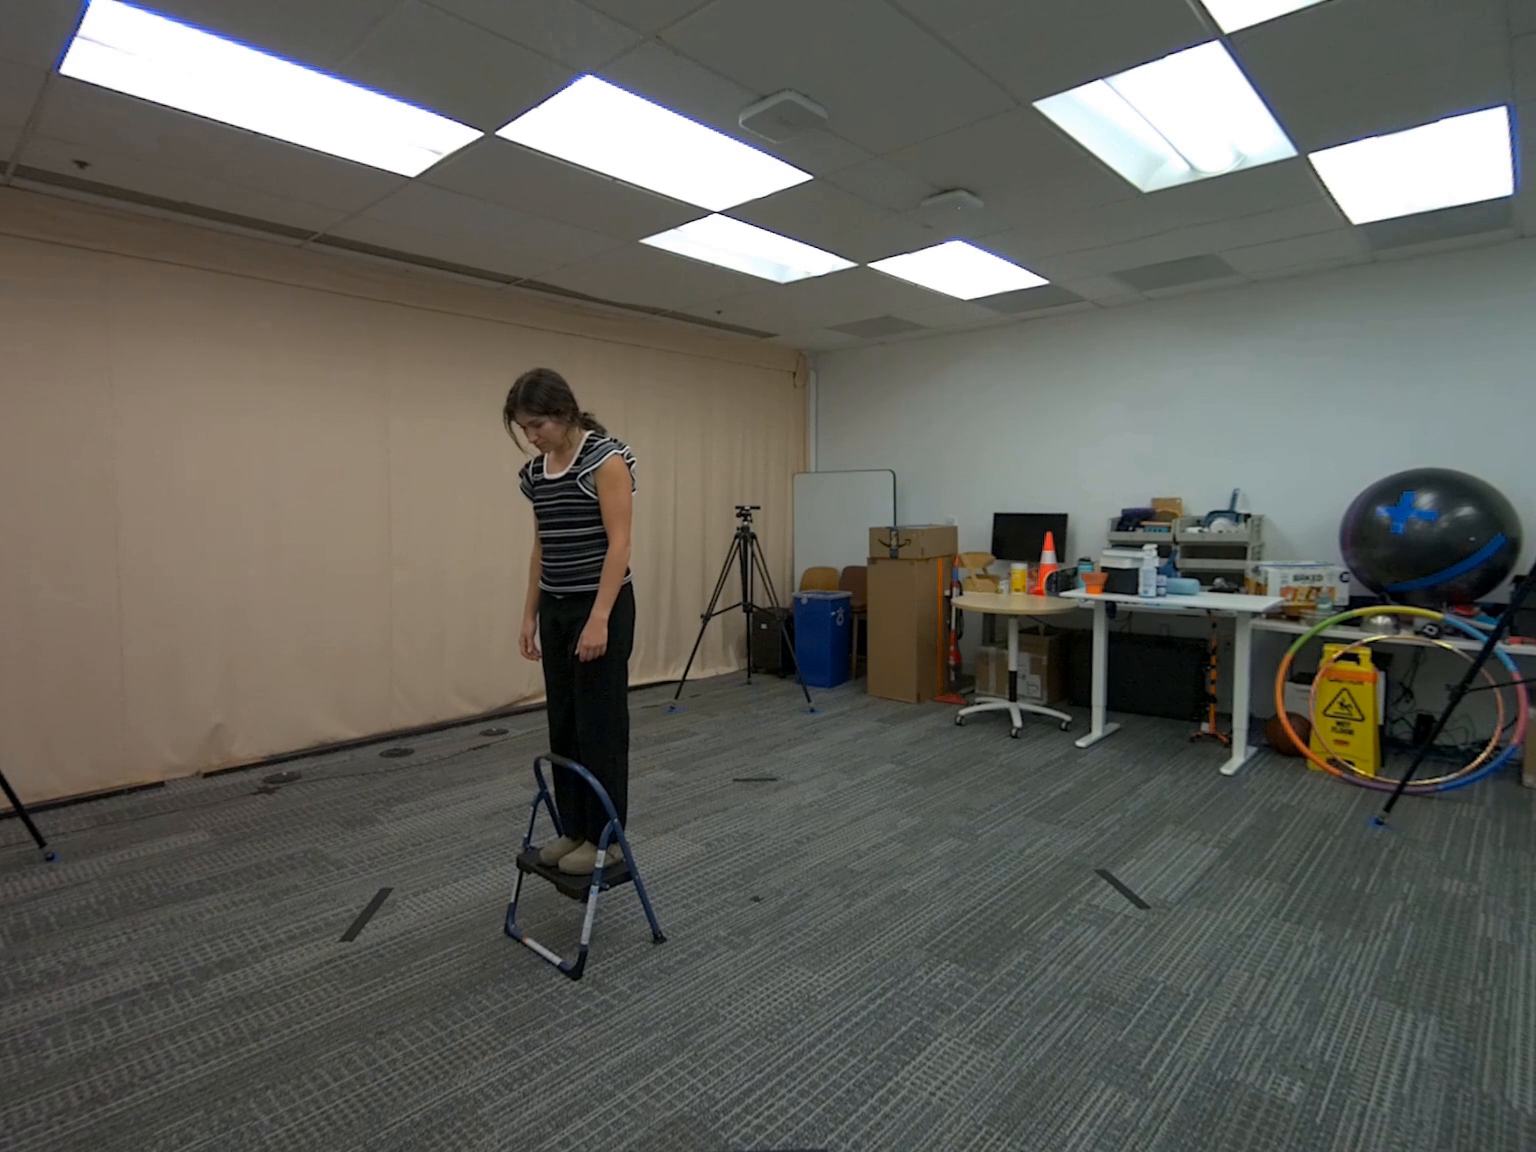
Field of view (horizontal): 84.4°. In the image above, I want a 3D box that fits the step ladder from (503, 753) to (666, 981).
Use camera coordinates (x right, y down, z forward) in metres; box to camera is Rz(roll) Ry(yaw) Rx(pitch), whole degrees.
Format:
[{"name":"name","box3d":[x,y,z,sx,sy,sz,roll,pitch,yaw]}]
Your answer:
[{"name":"step ladder","box3d":[-0.602,0.869,2.716,0.445,0.605,0.338,2,4,43]}]
